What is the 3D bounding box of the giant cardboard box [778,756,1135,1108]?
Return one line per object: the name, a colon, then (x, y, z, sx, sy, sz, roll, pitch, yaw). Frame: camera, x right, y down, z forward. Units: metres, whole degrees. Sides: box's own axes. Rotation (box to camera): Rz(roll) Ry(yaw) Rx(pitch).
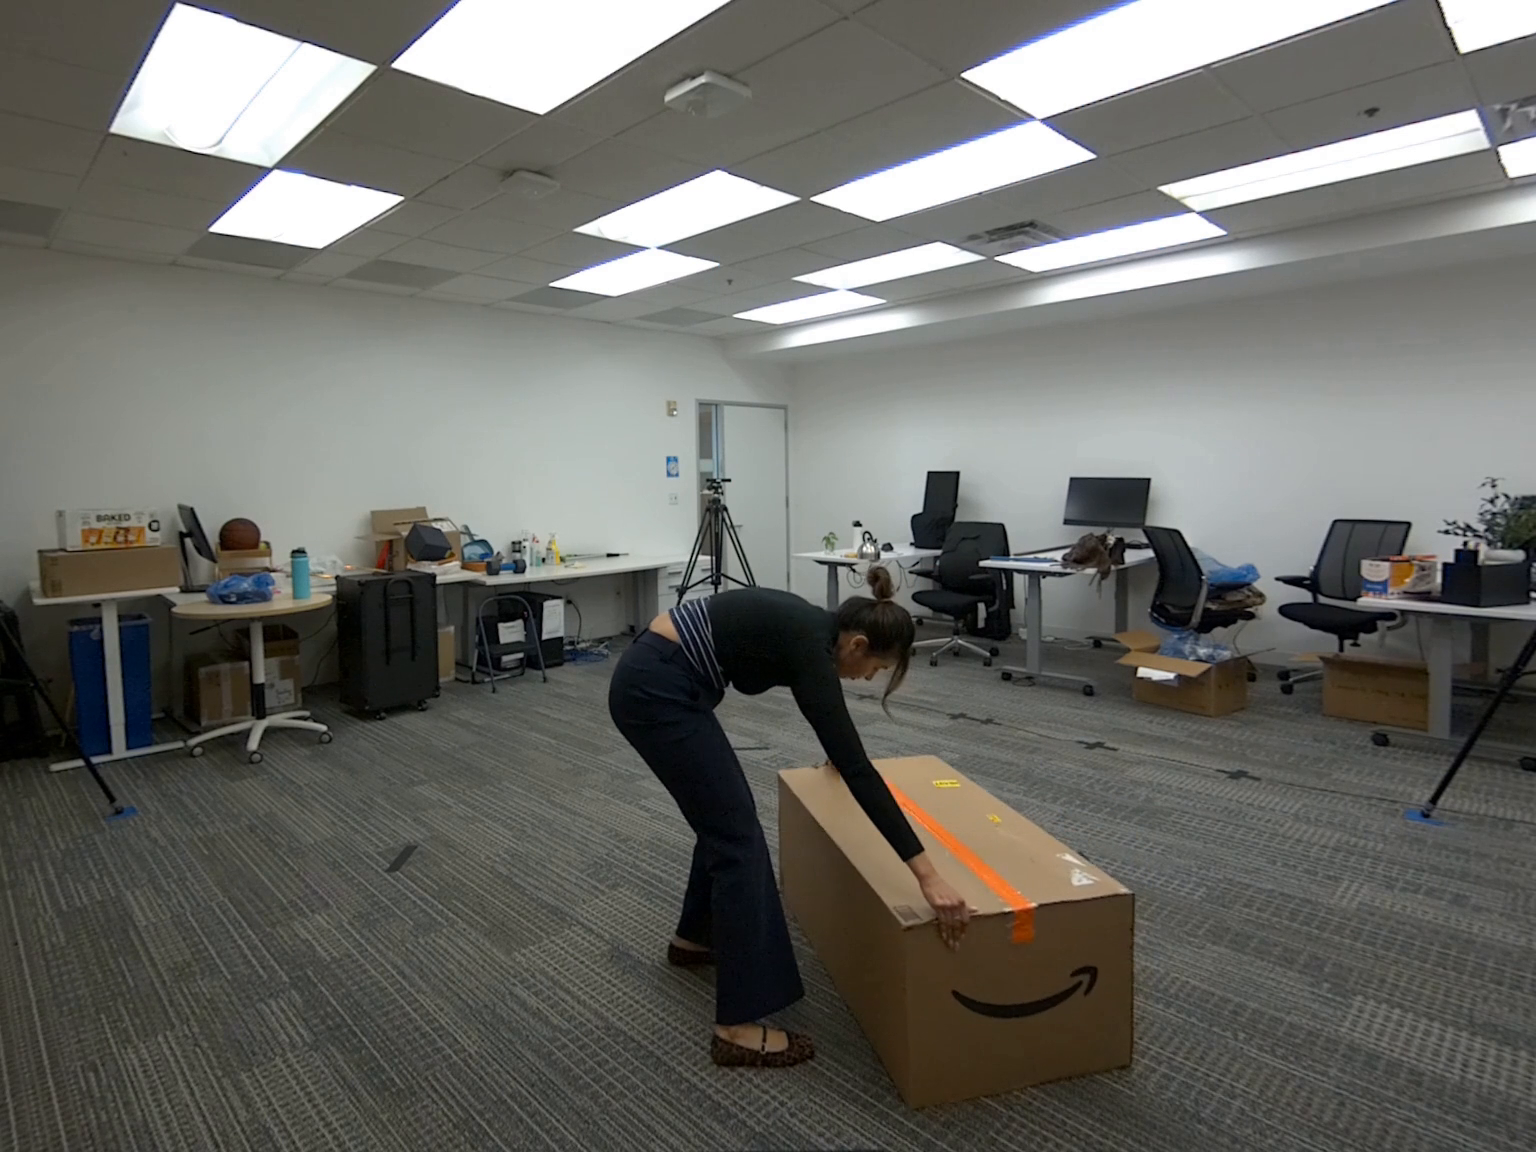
giant cardboard box: (0.446, 0.896, 2.432, 0.570, 0.424, 1.044, -2, 6, -15)
